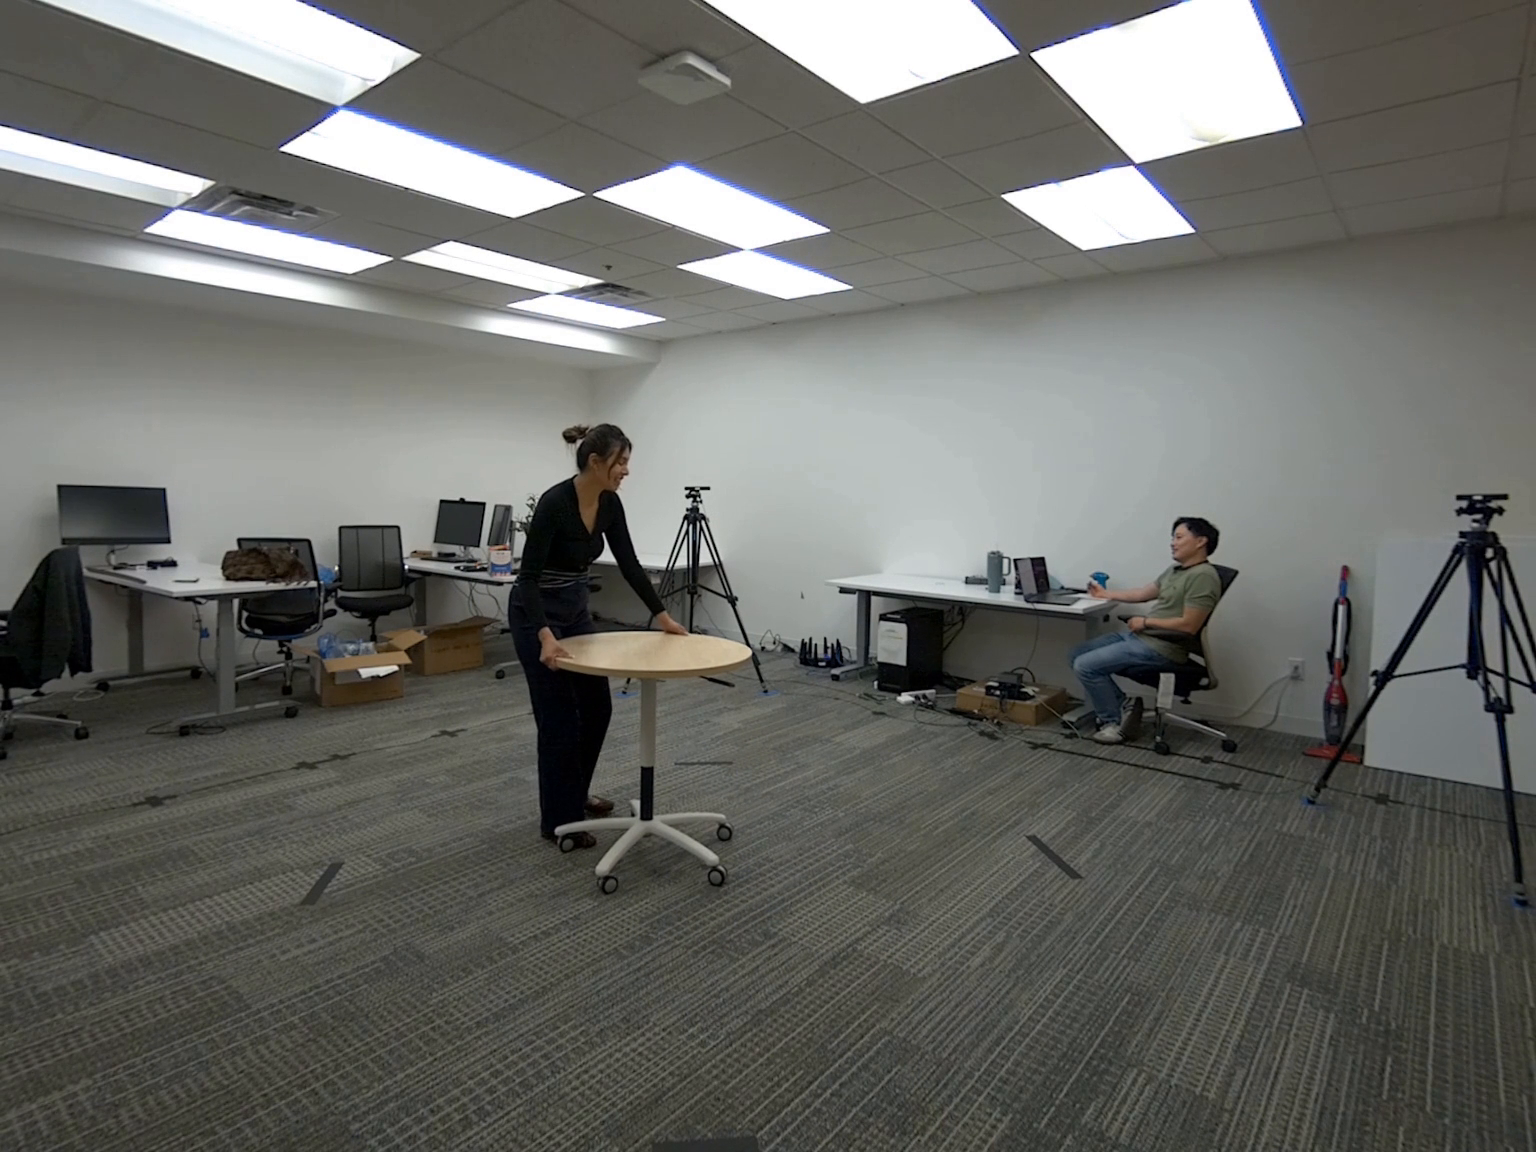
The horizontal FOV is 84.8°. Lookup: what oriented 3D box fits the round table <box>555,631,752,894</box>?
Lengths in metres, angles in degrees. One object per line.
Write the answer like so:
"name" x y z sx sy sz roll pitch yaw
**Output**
"round table" -0.457 0.665 3.185 0.763 0.791 0.768 1 4 -2
